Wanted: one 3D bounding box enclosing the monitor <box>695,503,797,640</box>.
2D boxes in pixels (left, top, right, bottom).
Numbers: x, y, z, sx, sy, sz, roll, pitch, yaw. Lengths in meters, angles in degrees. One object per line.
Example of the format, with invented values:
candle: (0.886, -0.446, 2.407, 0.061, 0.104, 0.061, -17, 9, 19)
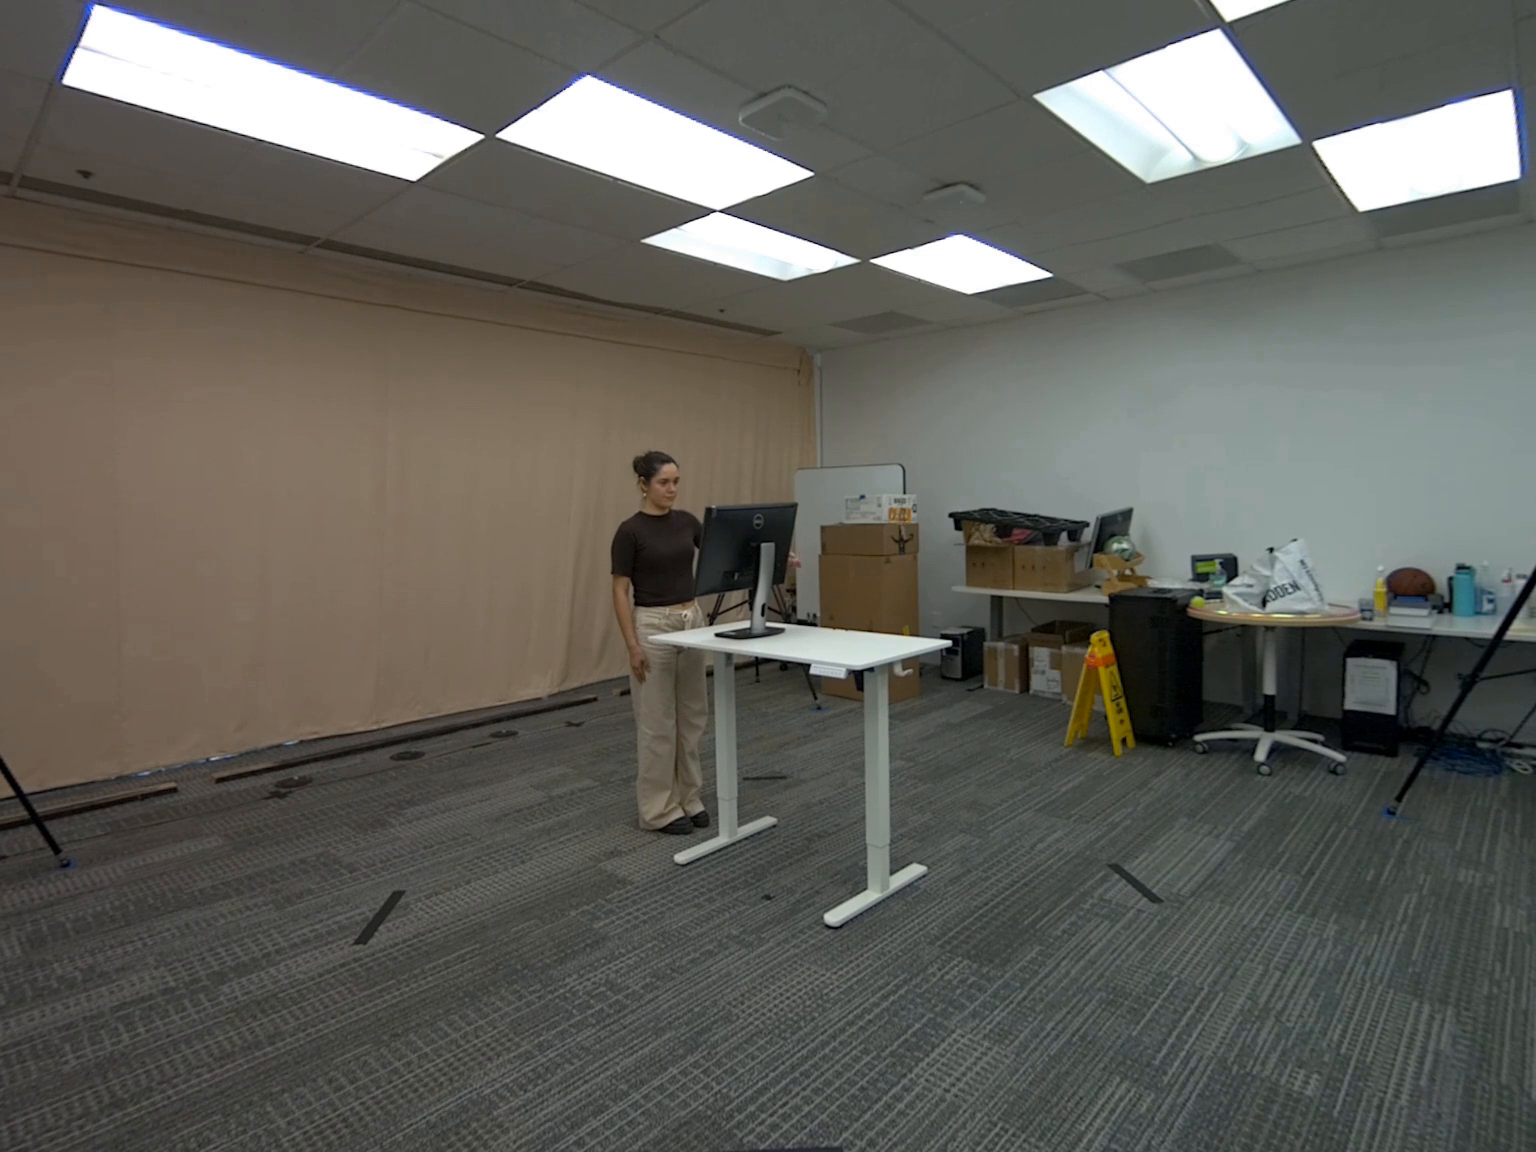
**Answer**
monitor: (-0.057, -0.020, 3.307, 0.193, 0.521, 0.523, 5, 8, 40)
